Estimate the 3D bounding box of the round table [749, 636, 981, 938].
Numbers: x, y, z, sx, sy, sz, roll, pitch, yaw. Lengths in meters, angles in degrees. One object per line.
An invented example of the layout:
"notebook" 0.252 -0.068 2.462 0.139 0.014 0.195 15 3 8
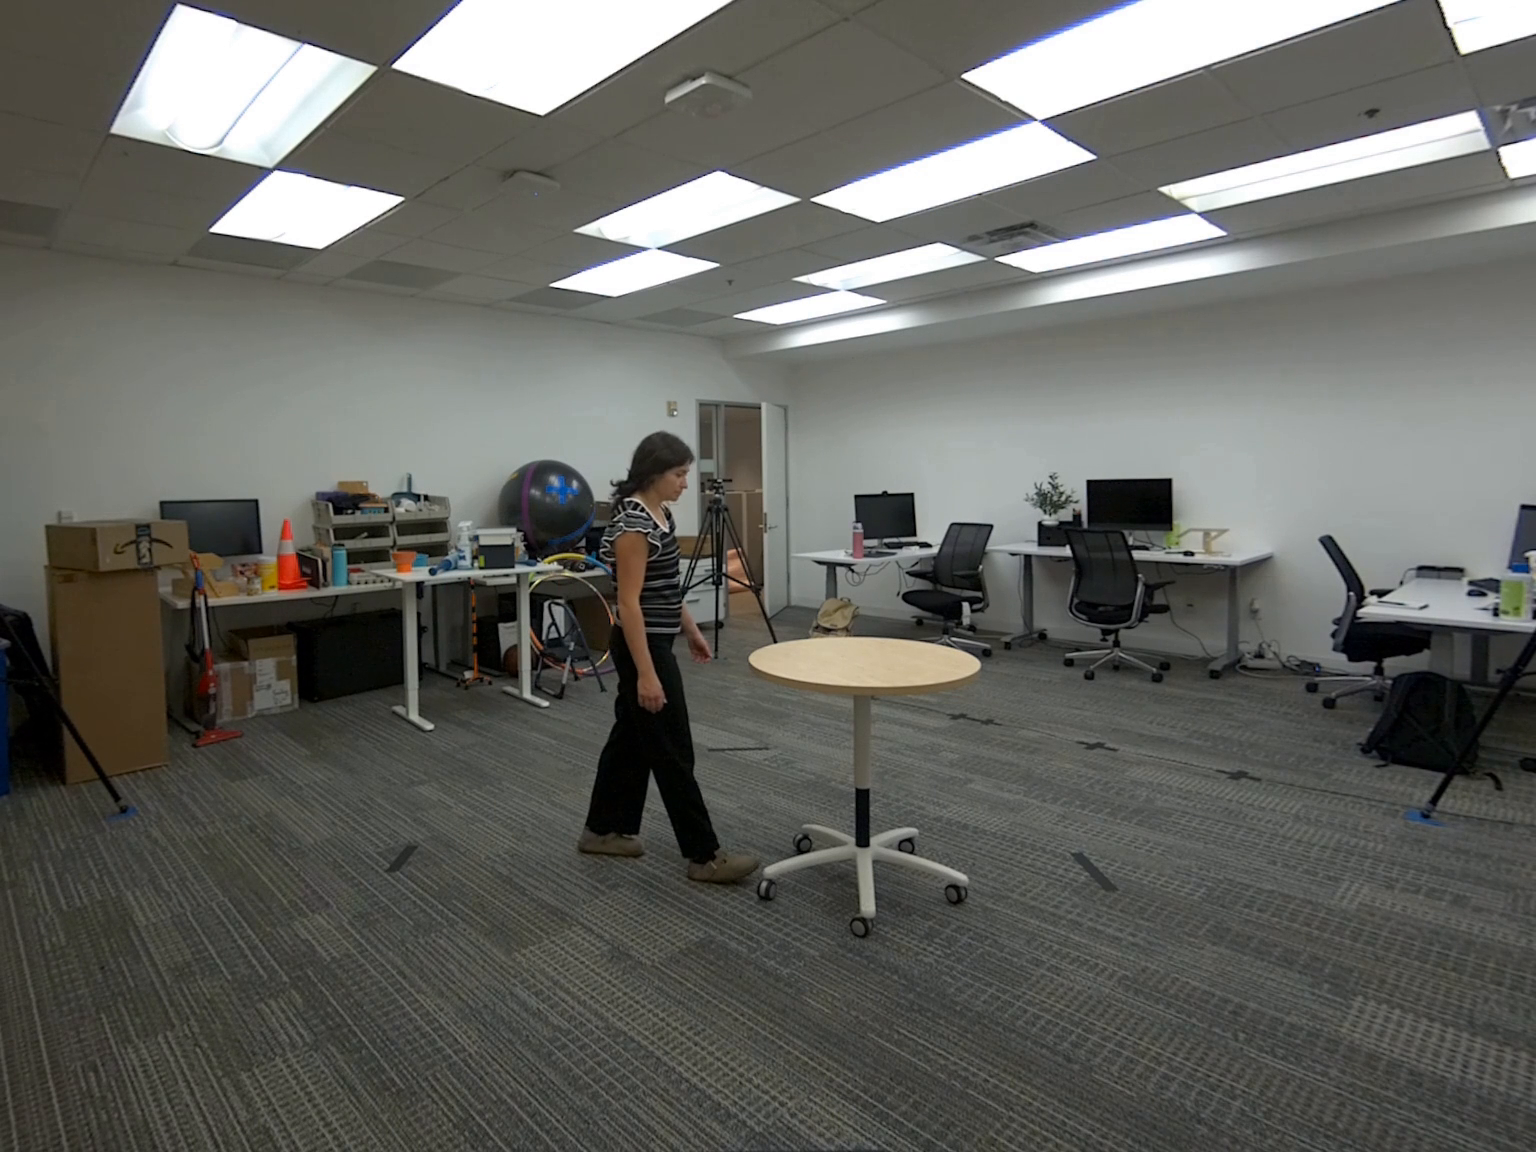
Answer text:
"round table" 0.315 0.670 2.899 0.763 0.791 0.768 -1 5 -2
